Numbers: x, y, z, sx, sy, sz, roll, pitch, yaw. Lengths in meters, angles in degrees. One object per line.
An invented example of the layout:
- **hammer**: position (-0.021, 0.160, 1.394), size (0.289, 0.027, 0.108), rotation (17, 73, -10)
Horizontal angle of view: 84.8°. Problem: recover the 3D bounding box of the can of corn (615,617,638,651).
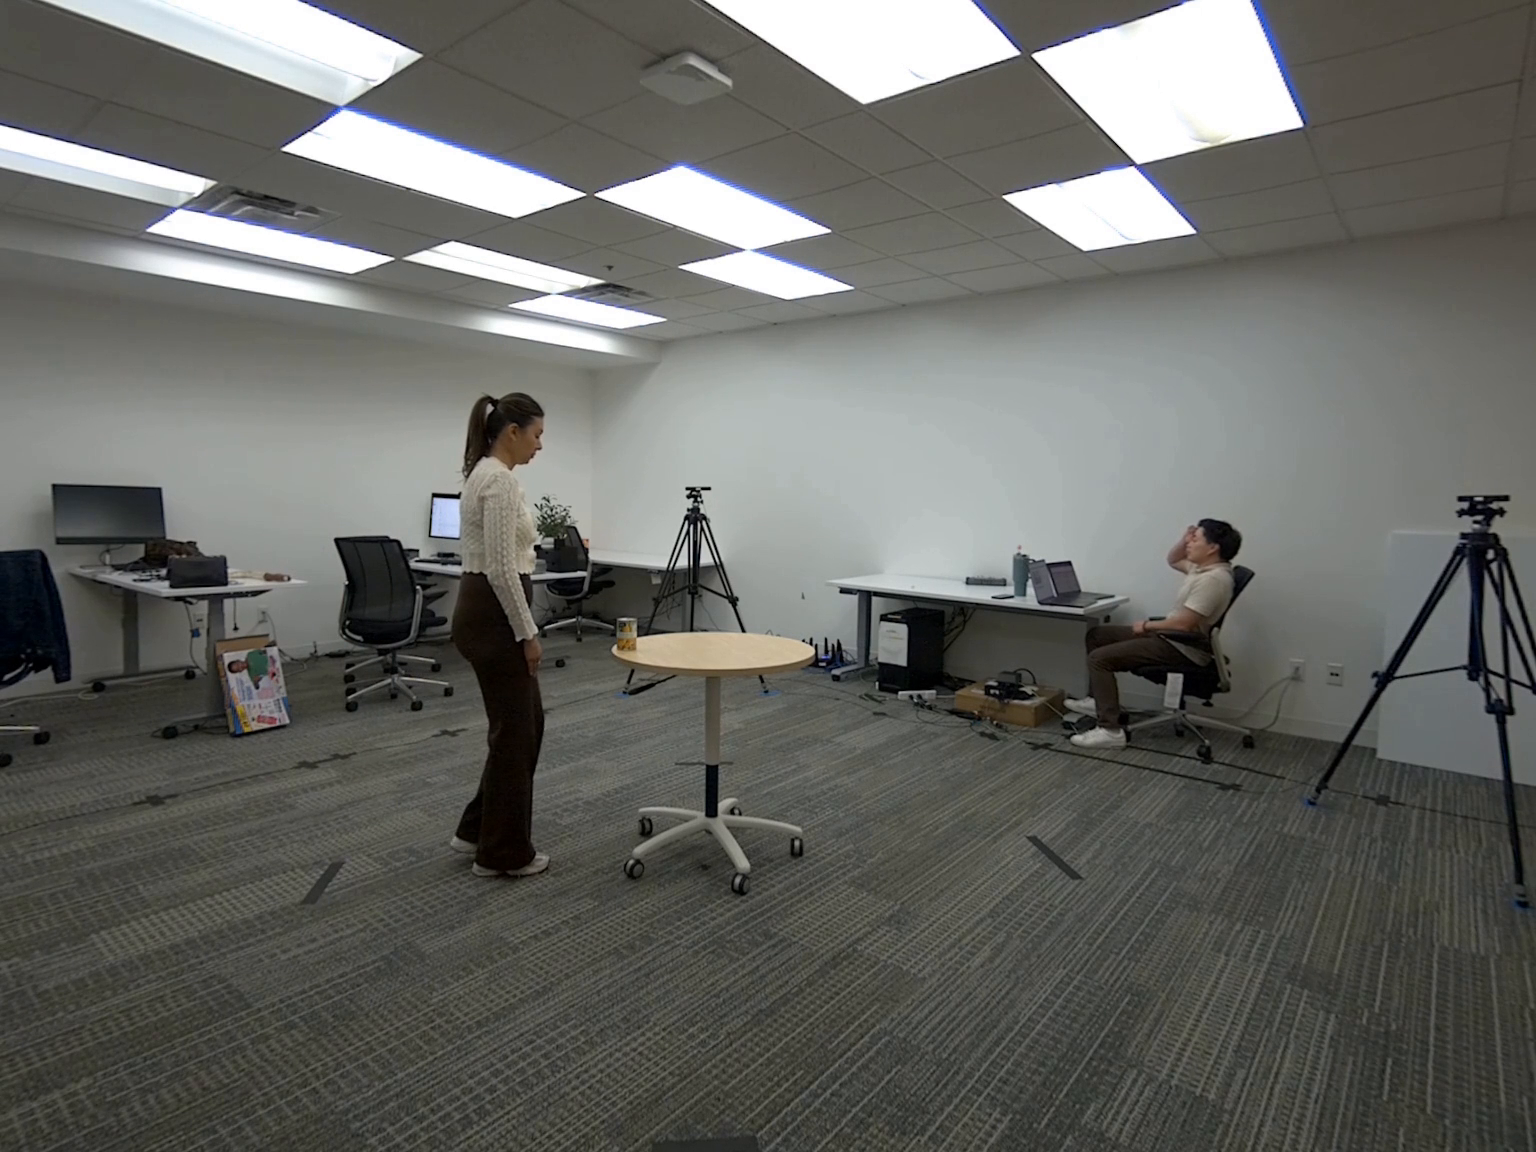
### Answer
- **can of corn**: position (-0.545, 0.221, 3.176), size (0.074, 0.111, 0.074), rotation (0, 3, -2)
